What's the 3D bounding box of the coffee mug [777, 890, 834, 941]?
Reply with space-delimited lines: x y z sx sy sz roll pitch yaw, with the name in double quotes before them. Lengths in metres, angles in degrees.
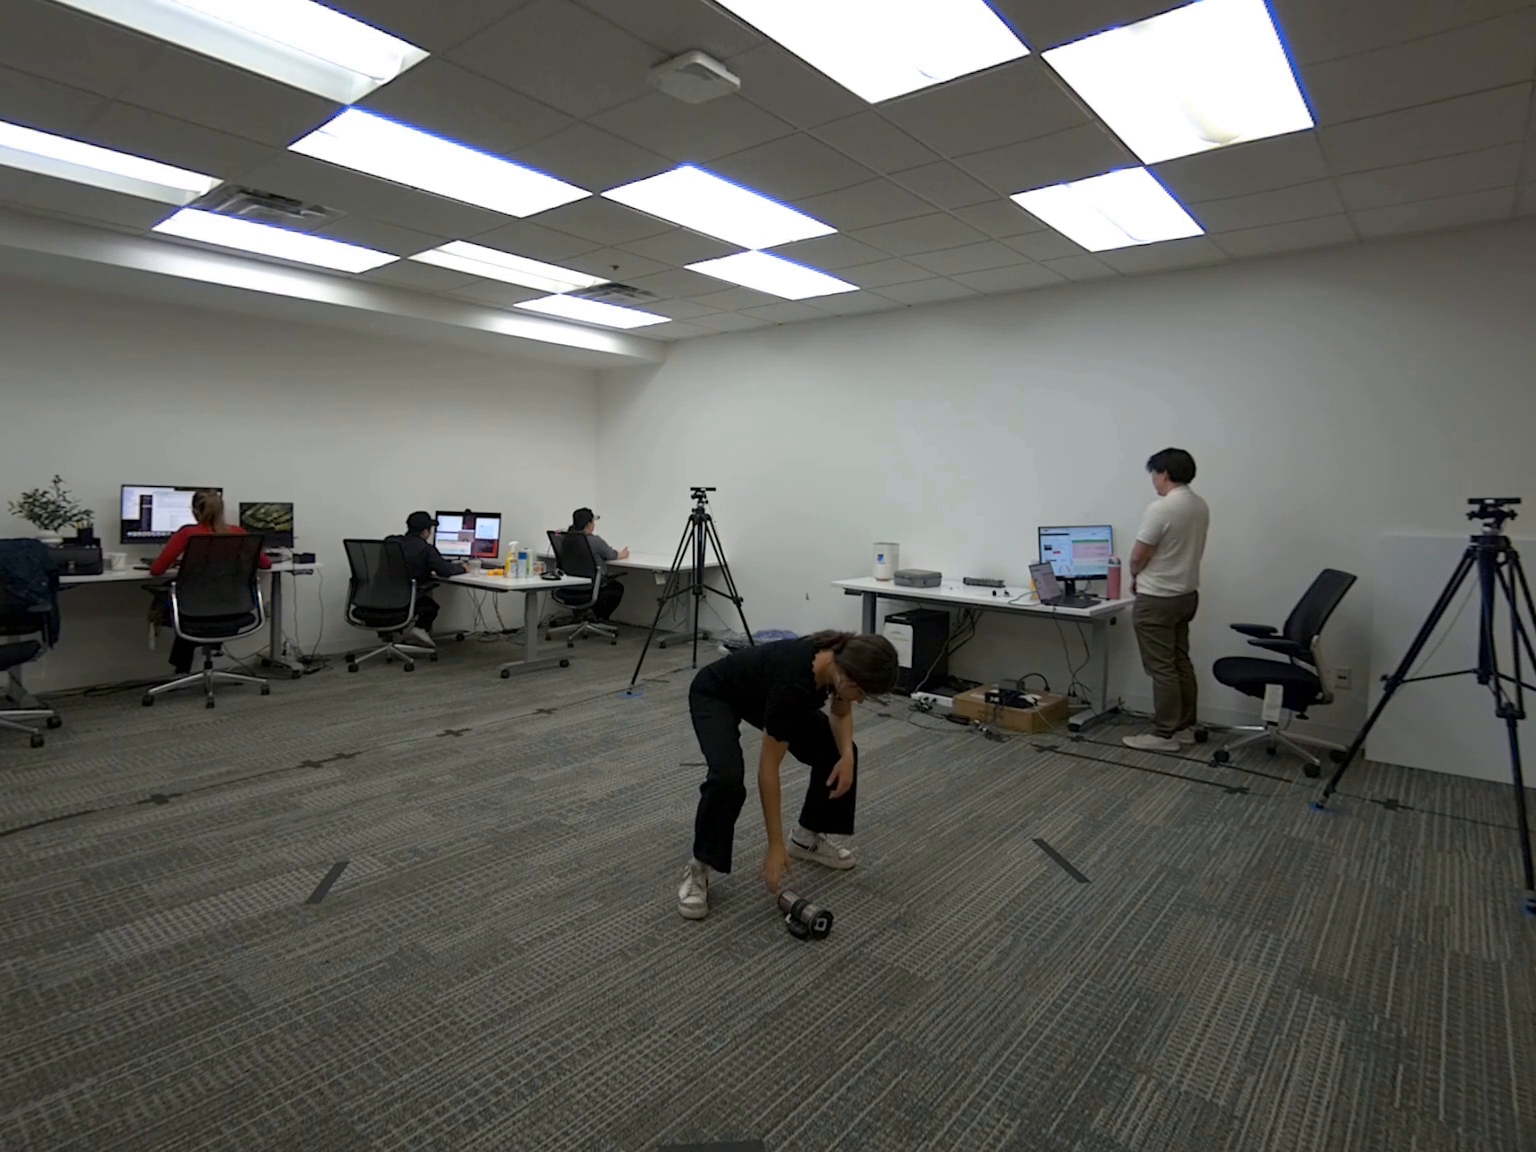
"coffee mug" 0.096 1.066 2.706 0.118 0.088 0.209 12 -4 -36
